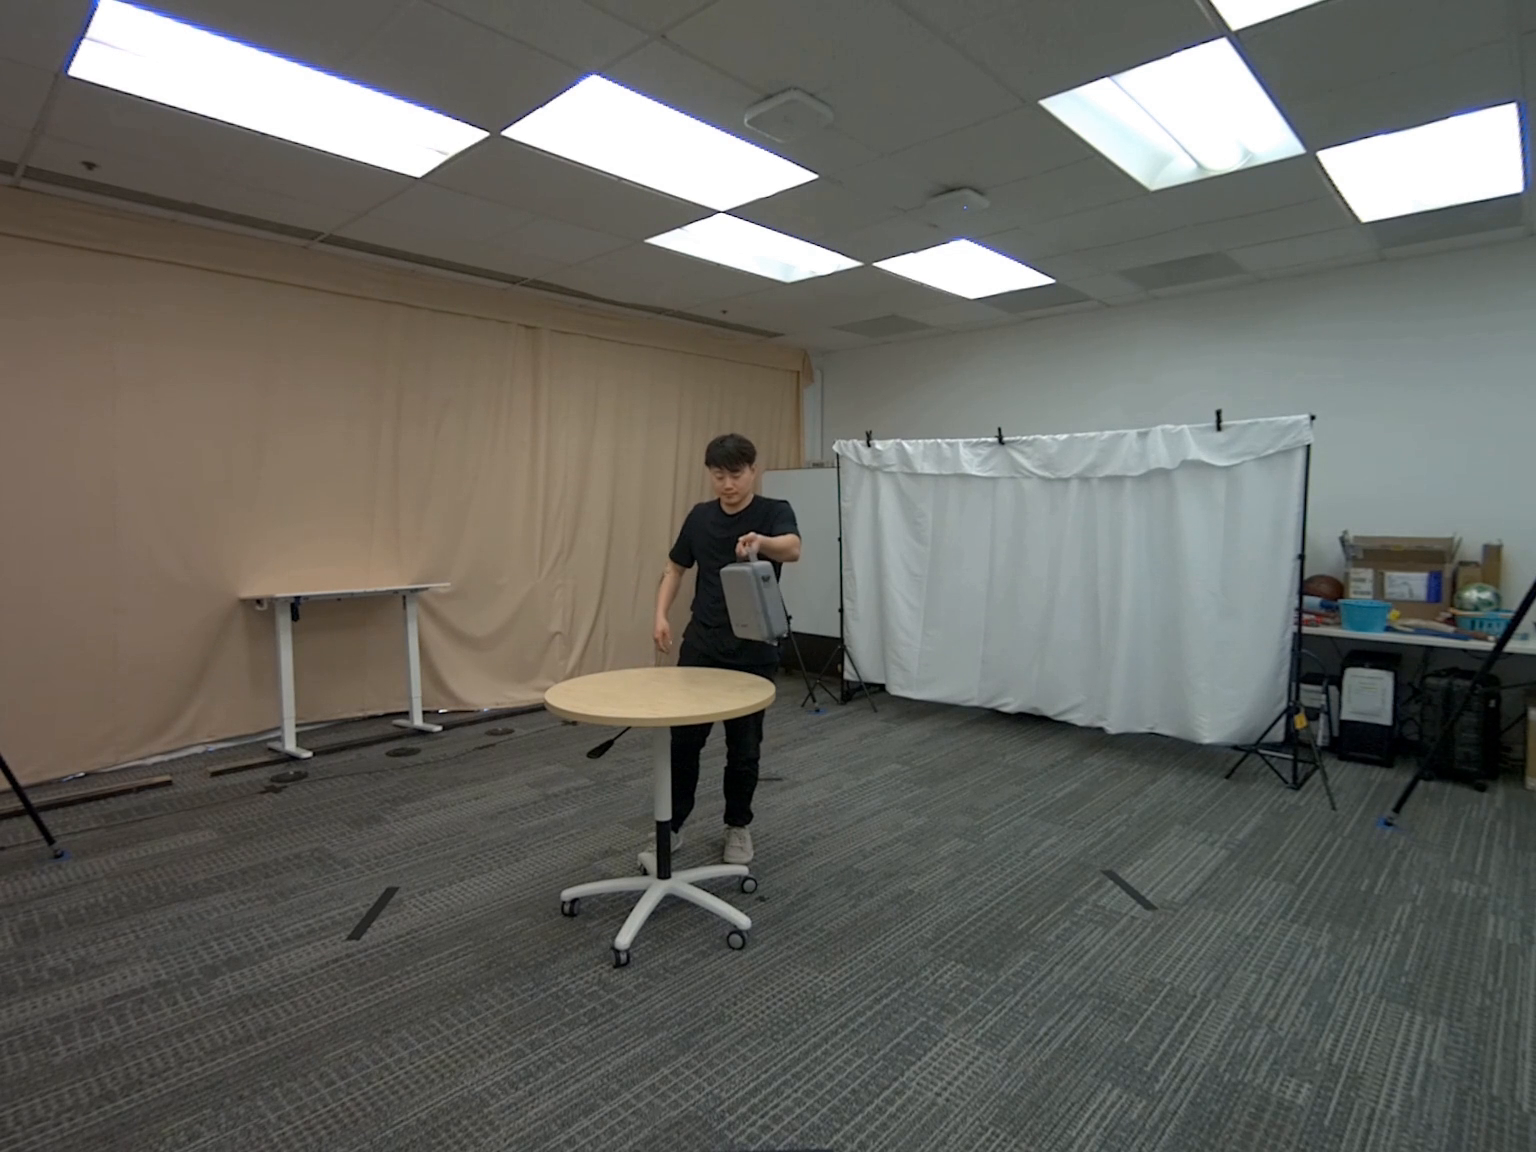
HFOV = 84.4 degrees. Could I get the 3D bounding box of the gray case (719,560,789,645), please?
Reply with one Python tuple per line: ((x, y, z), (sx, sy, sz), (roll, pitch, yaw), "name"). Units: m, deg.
((-0.059, 0.078, 2.814), (0.103, 0.260, 0.261), (-13, 4, -18), "gray case")
